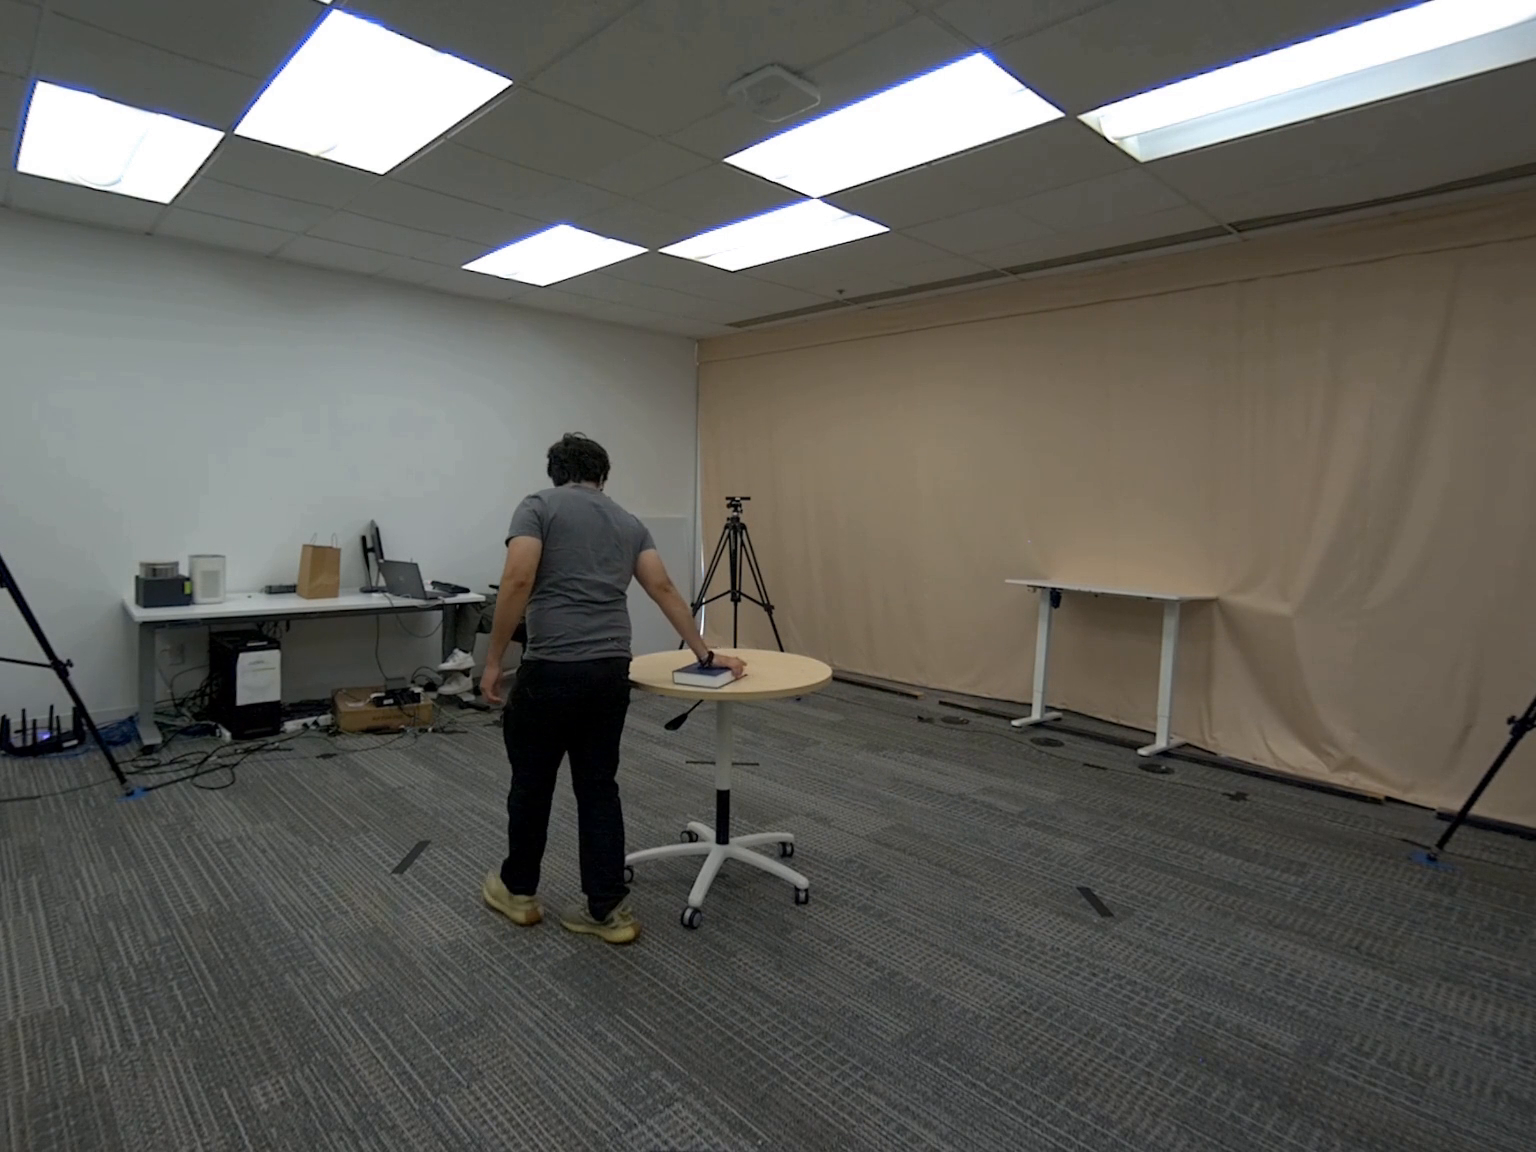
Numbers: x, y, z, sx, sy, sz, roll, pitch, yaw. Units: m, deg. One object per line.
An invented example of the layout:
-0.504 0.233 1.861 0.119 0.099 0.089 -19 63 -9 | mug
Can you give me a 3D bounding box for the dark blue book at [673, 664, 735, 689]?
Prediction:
-0.207 0.330 2.830 0.166 0.045 0.241 3 5 21 | dark blue book
